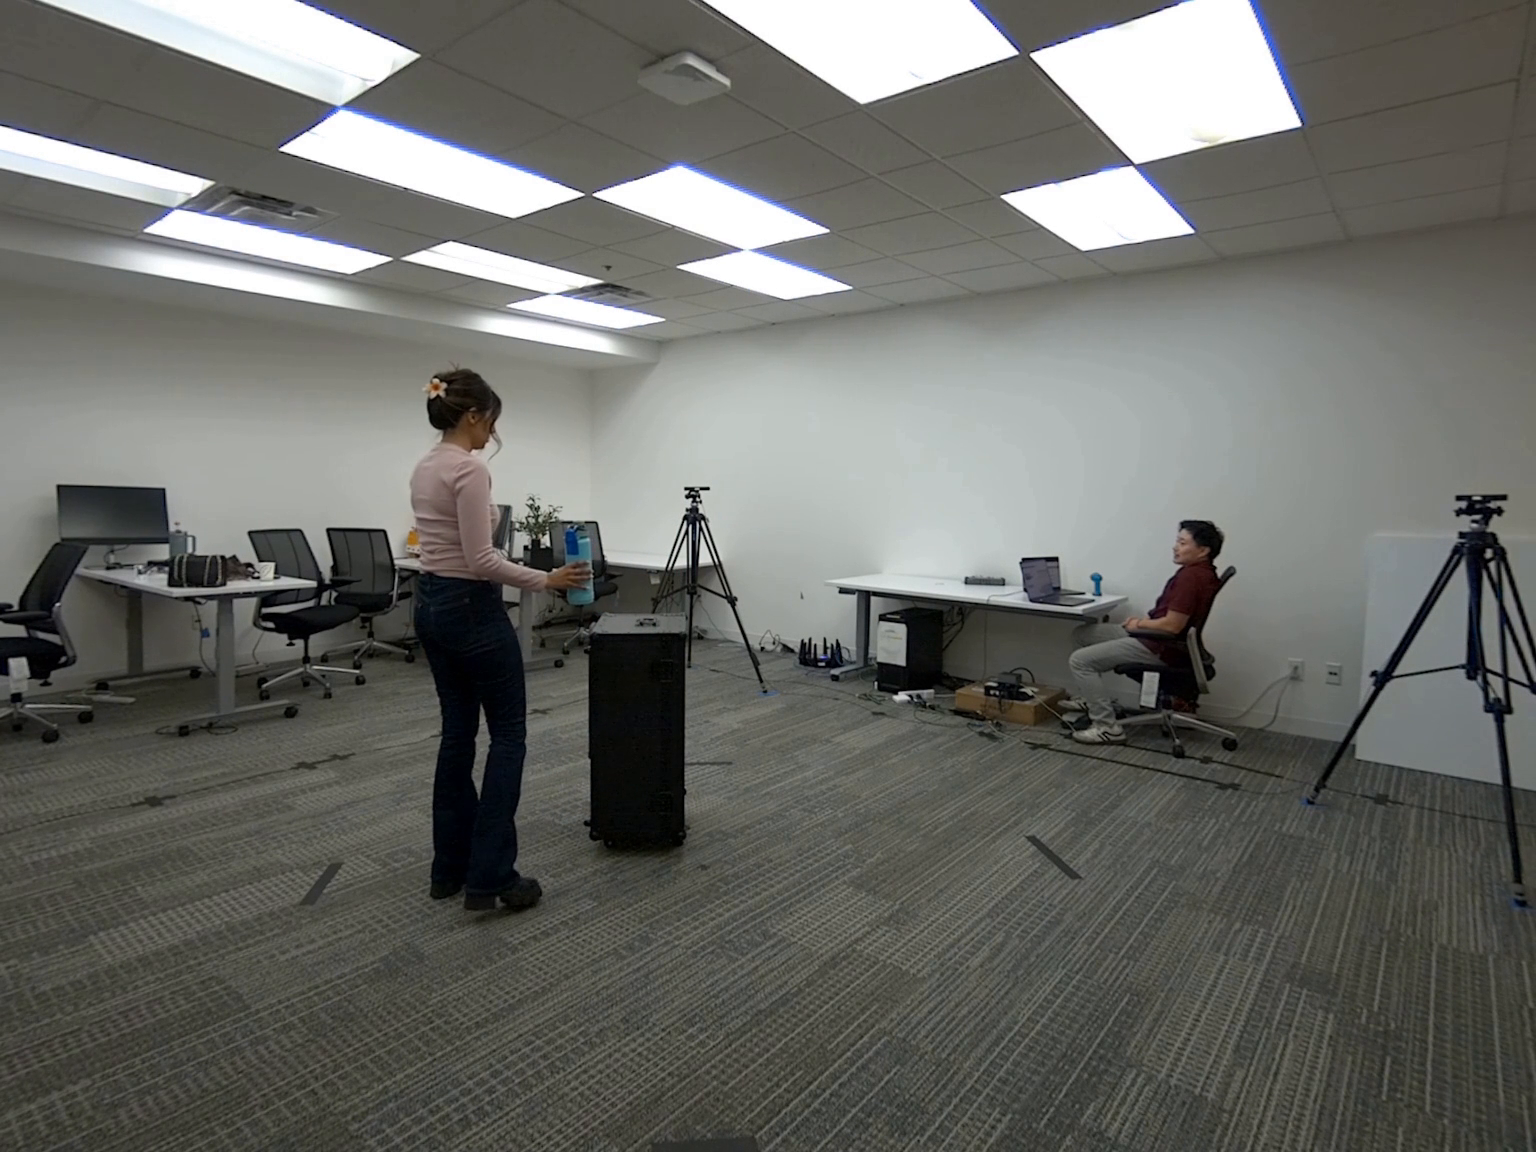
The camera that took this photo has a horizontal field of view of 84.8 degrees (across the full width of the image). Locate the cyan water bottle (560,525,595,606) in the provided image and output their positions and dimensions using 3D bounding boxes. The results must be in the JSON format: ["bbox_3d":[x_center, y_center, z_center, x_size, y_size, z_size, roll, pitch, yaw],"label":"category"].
[{"bbox_3d":[-0.673,-0.046,2.944,0.092,0.280,0.093,-4,10,-1],"label":"cyan water bottle"}]
